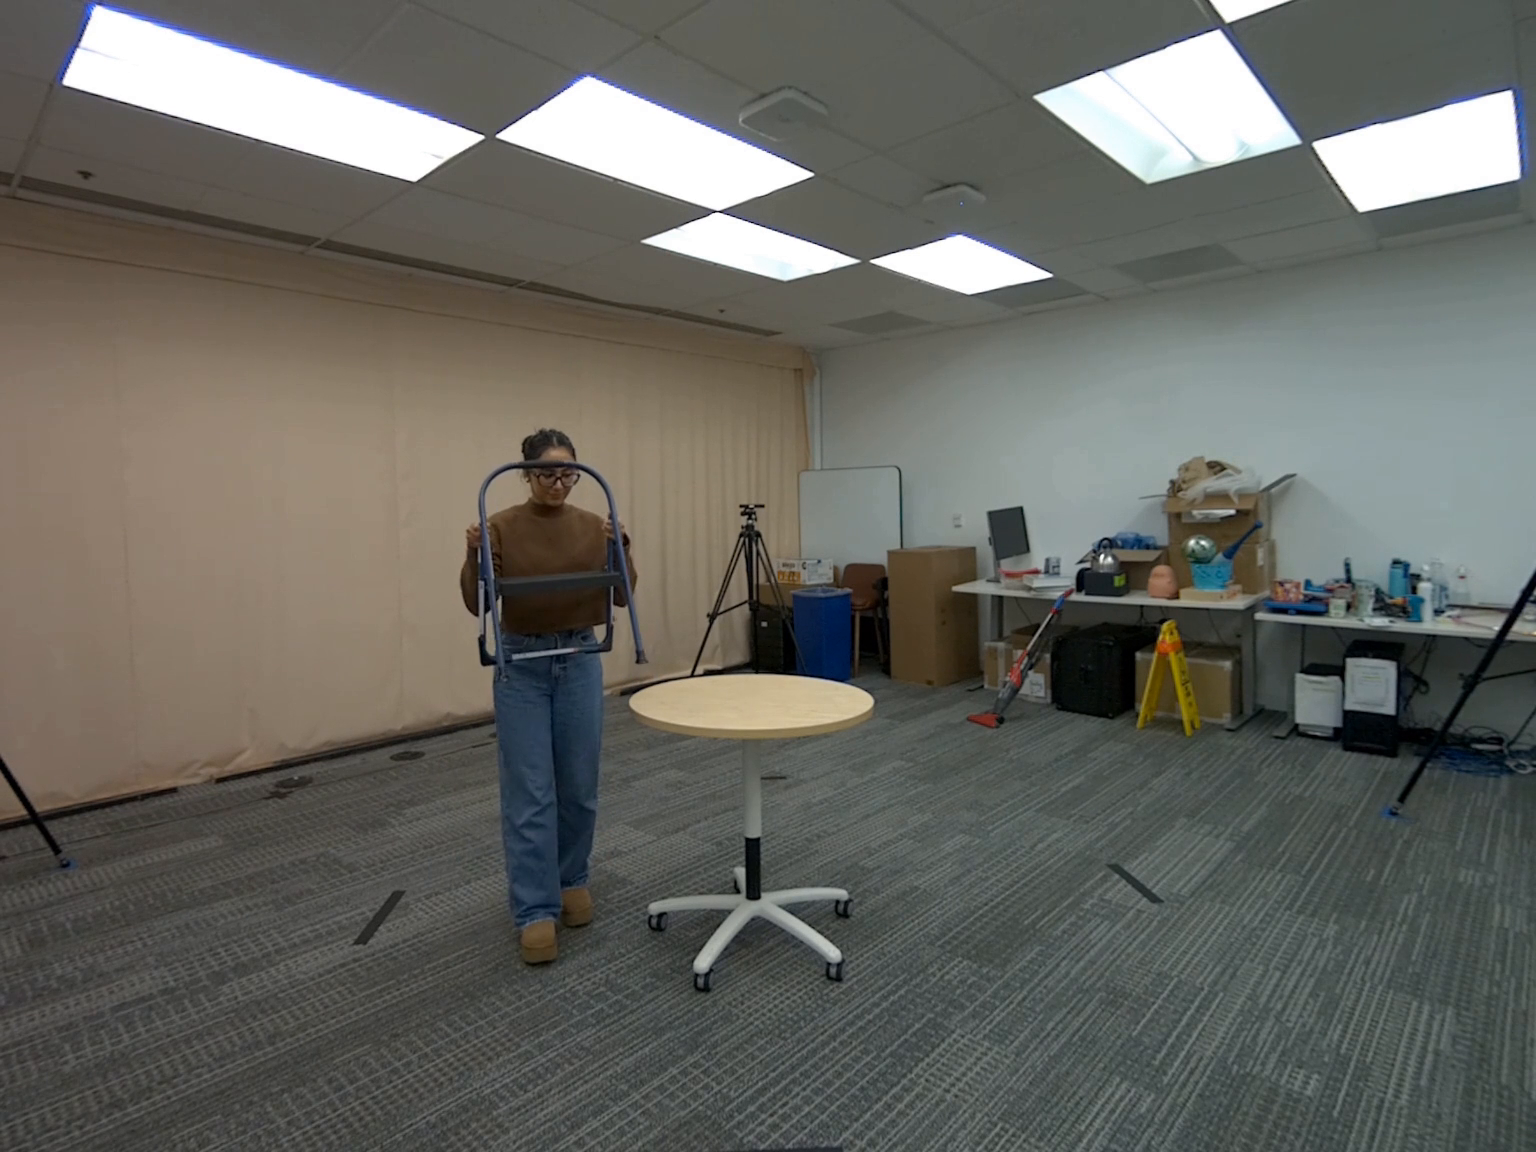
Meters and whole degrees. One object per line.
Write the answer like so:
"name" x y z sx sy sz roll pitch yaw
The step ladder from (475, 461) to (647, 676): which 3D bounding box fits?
"step ladder" -0.626 -0.038 2.476 0.420 0.605 0.358 -3 1 -27
